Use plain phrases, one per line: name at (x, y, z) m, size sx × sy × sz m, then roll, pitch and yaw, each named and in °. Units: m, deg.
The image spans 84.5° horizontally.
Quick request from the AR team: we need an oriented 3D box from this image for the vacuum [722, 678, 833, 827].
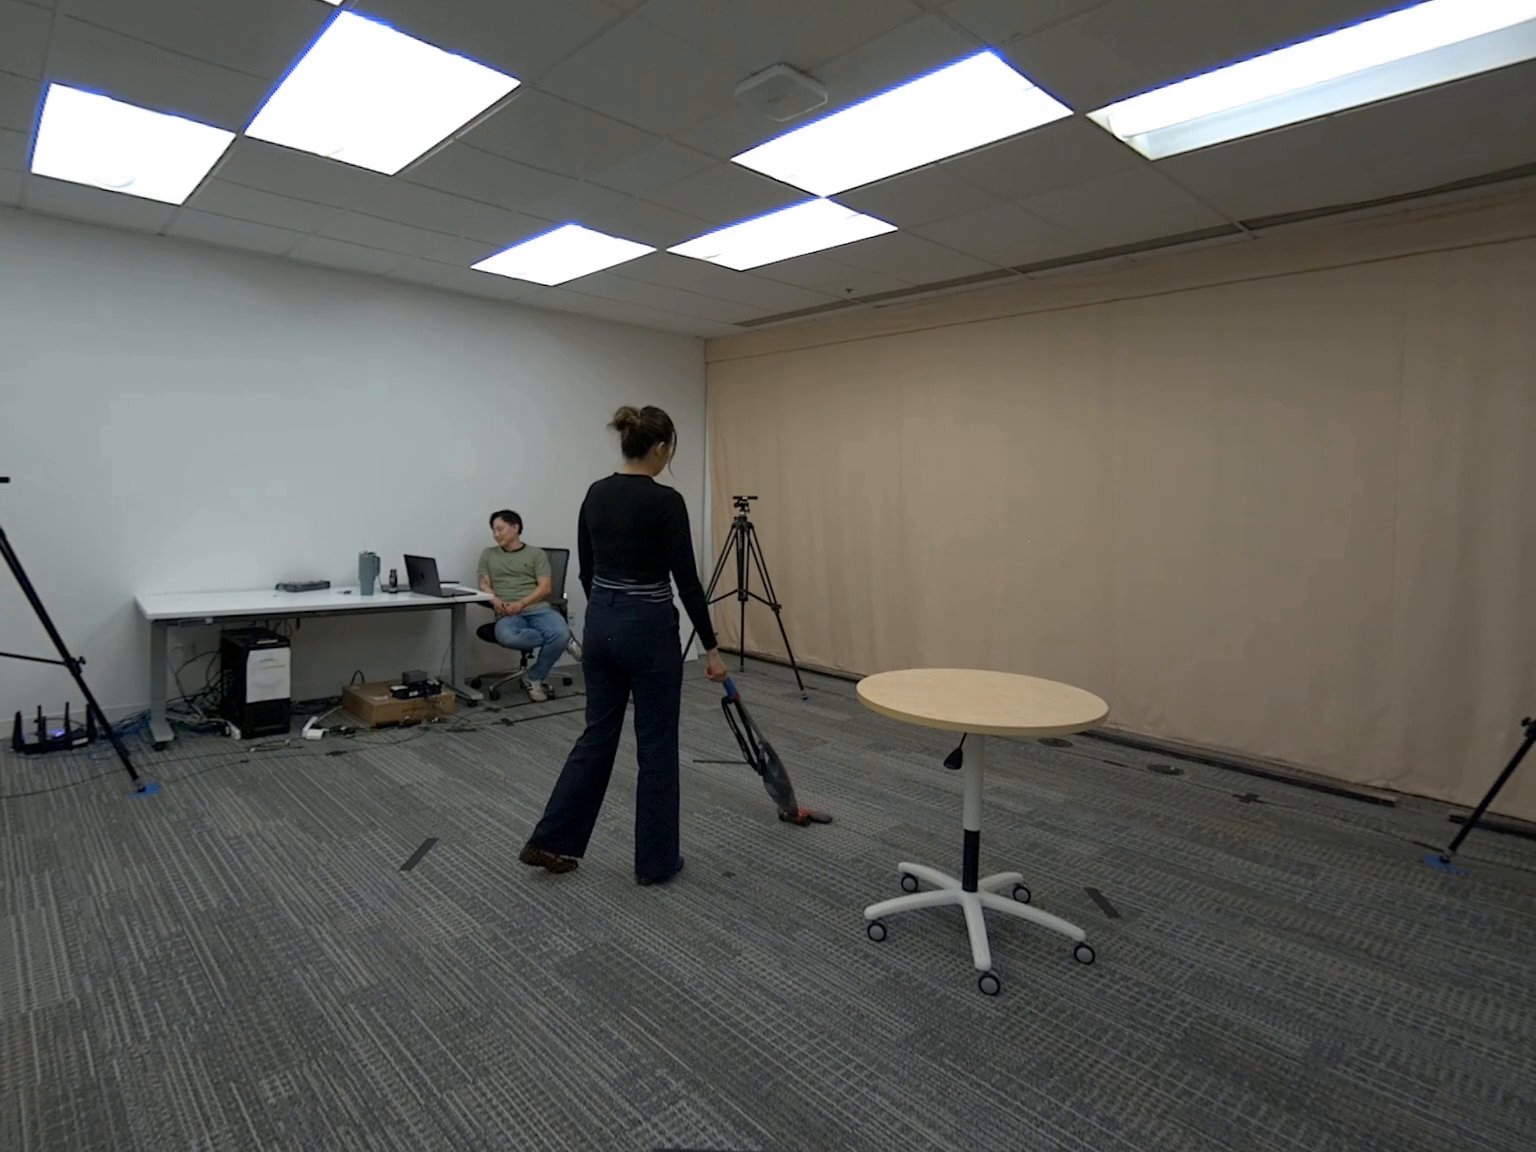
vacuum at (-0.039, 0.699, 3.356) m, size 0.258 × 1.018 × 0.145 m, roll 5°, pitch 49°, yaw 32°
